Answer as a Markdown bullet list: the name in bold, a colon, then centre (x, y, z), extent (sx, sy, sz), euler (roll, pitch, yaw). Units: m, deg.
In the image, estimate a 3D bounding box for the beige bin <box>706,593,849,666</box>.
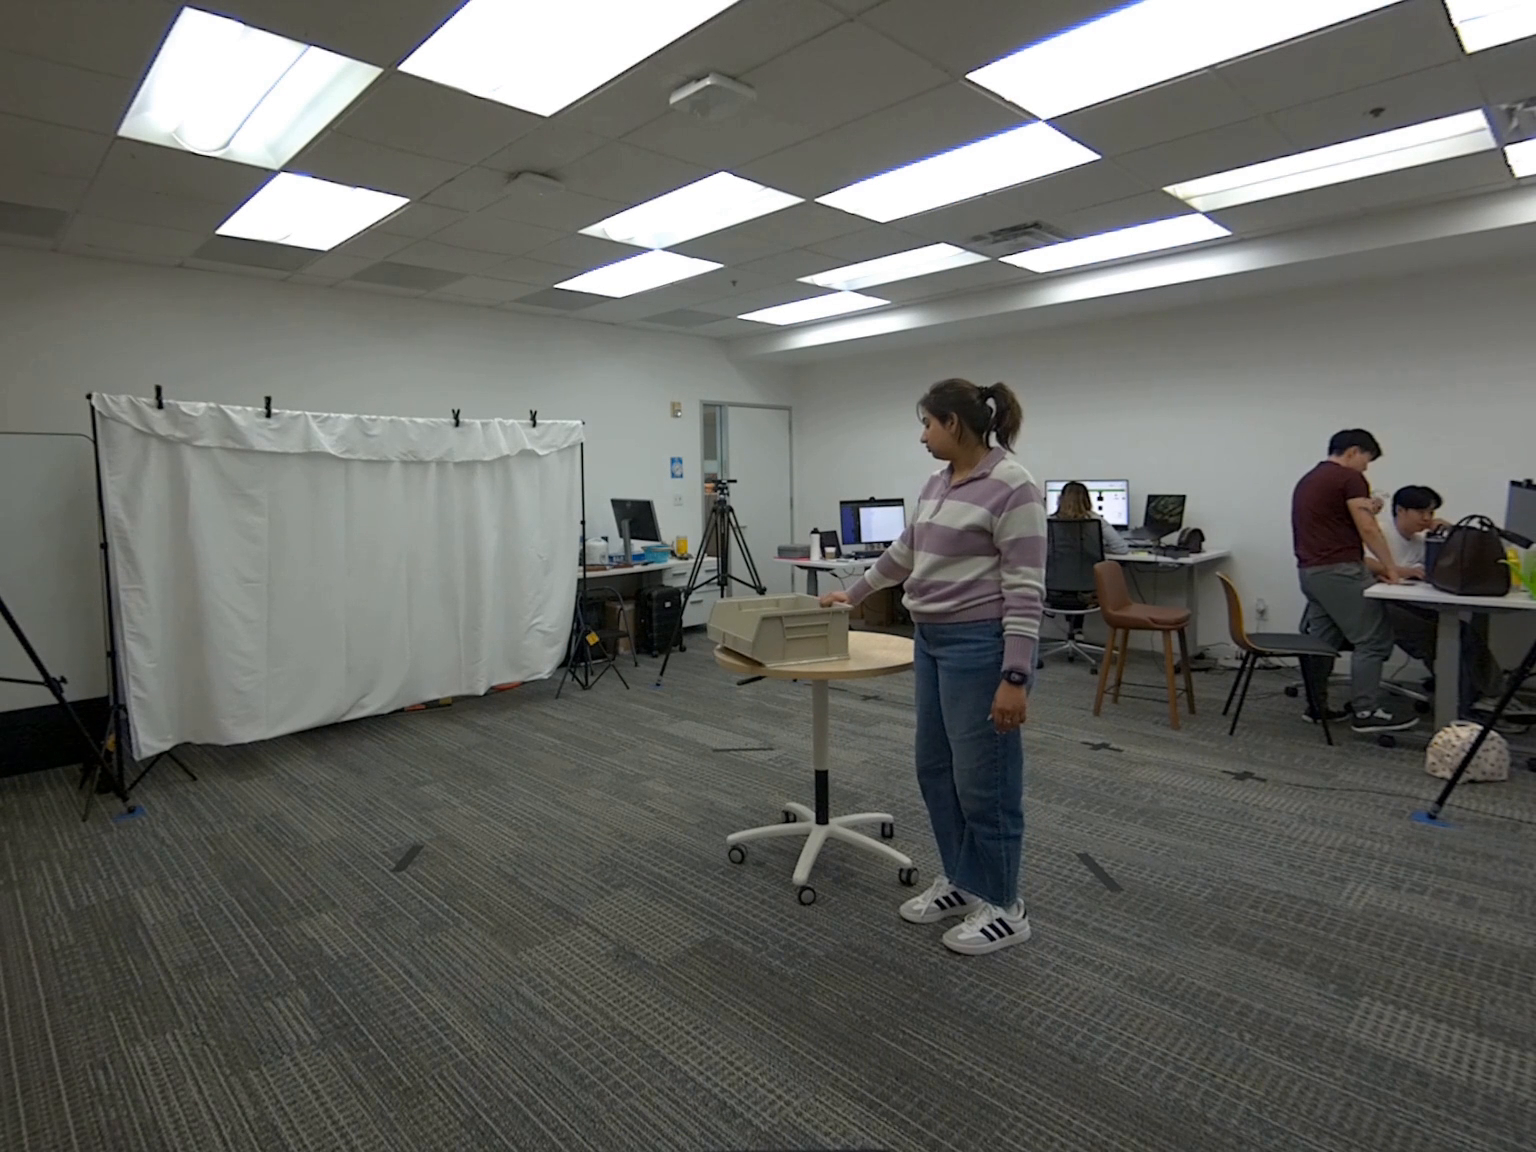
- **beige bin**: centre (0.036, 0.183, 3.009), extent (0.370, 0.188, 0.432), euler (-2, 5, -23)
